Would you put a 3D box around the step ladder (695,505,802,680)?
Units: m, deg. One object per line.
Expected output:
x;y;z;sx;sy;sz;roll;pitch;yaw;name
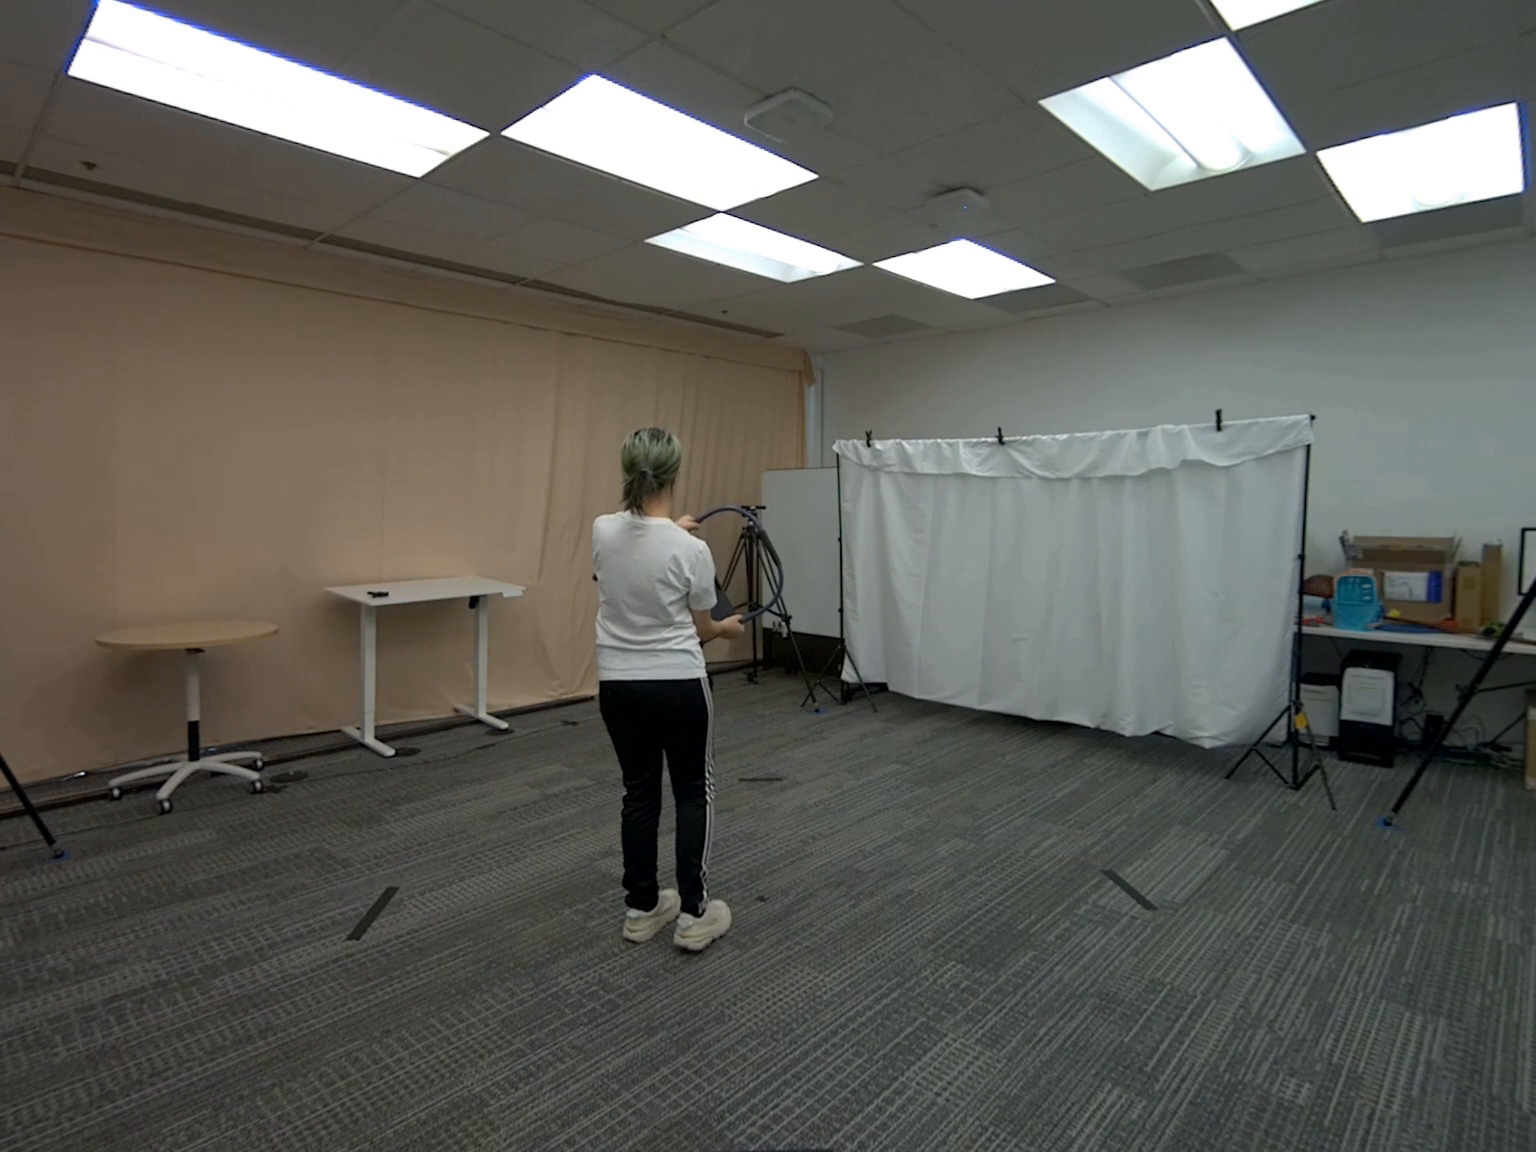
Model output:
-0.240;0.015;3.049;0.617;0.432;0.342;-29;-1;37;step ladder
